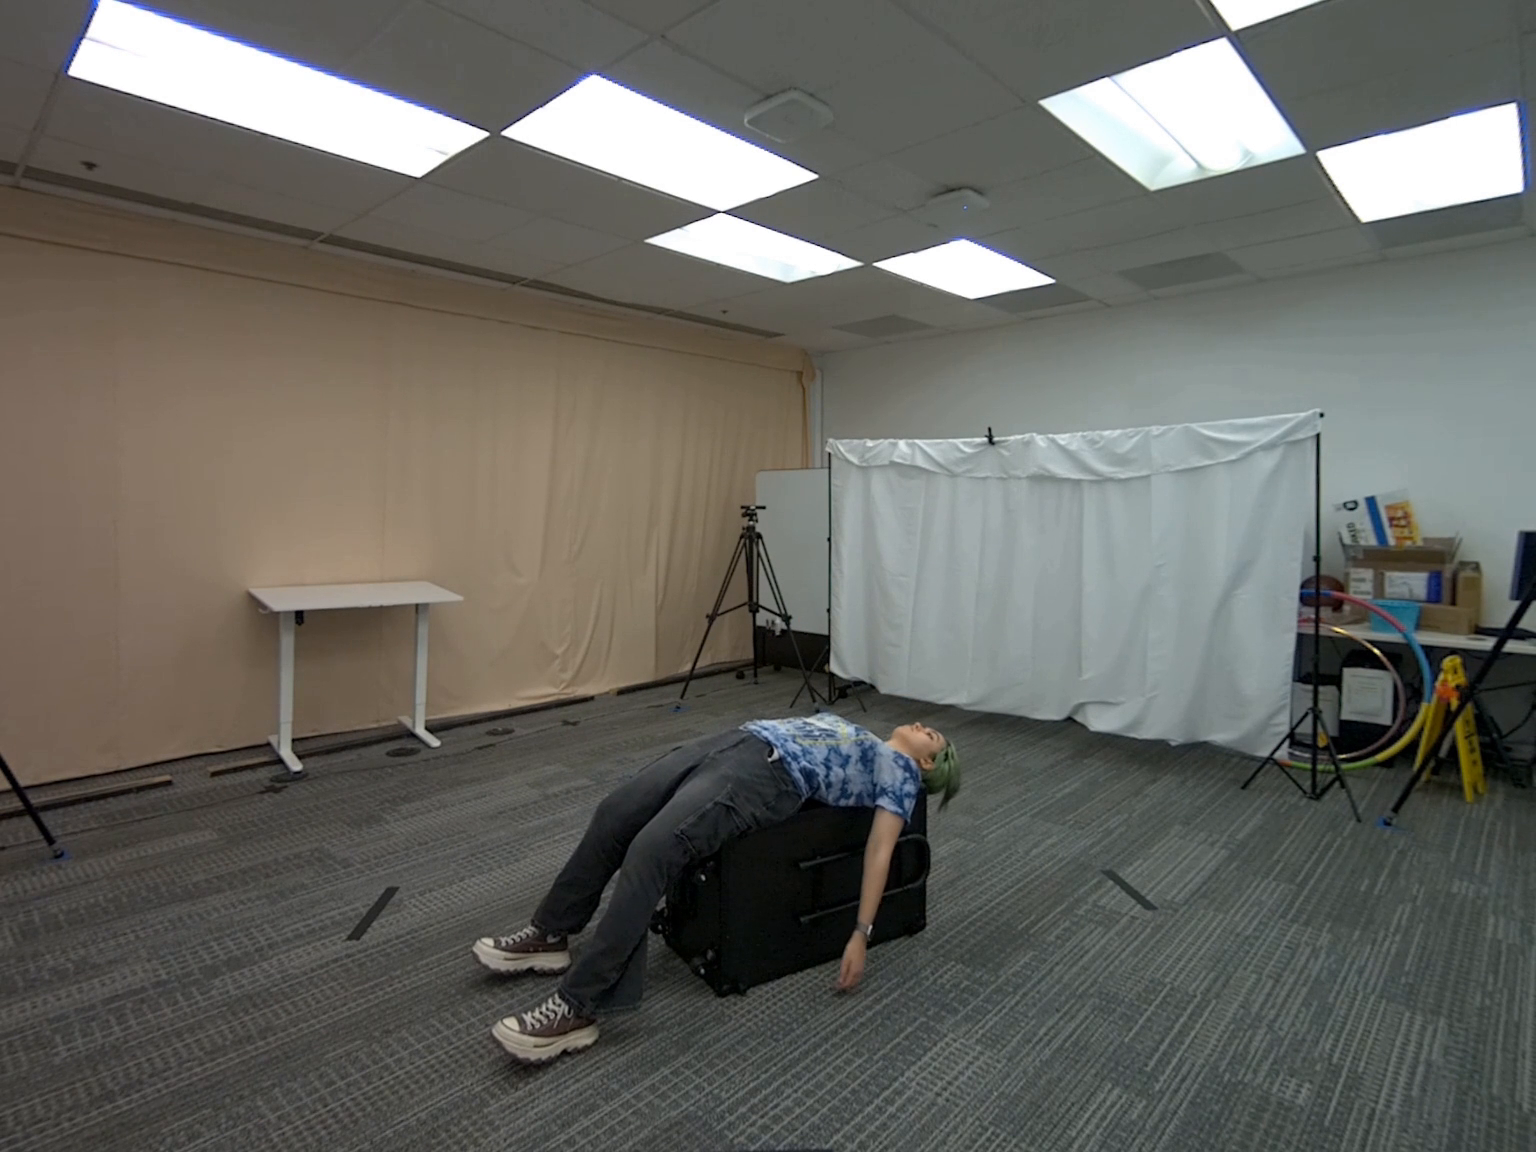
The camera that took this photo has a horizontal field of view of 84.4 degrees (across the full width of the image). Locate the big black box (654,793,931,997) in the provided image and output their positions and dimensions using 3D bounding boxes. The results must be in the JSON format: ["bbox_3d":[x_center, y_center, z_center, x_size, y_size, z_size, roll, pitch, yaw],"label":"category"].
[{"bbox_3d":[0.078,0.928,2.685,0.839,0.520,0.408,-4,5,-30],"label":"big black box"}]
